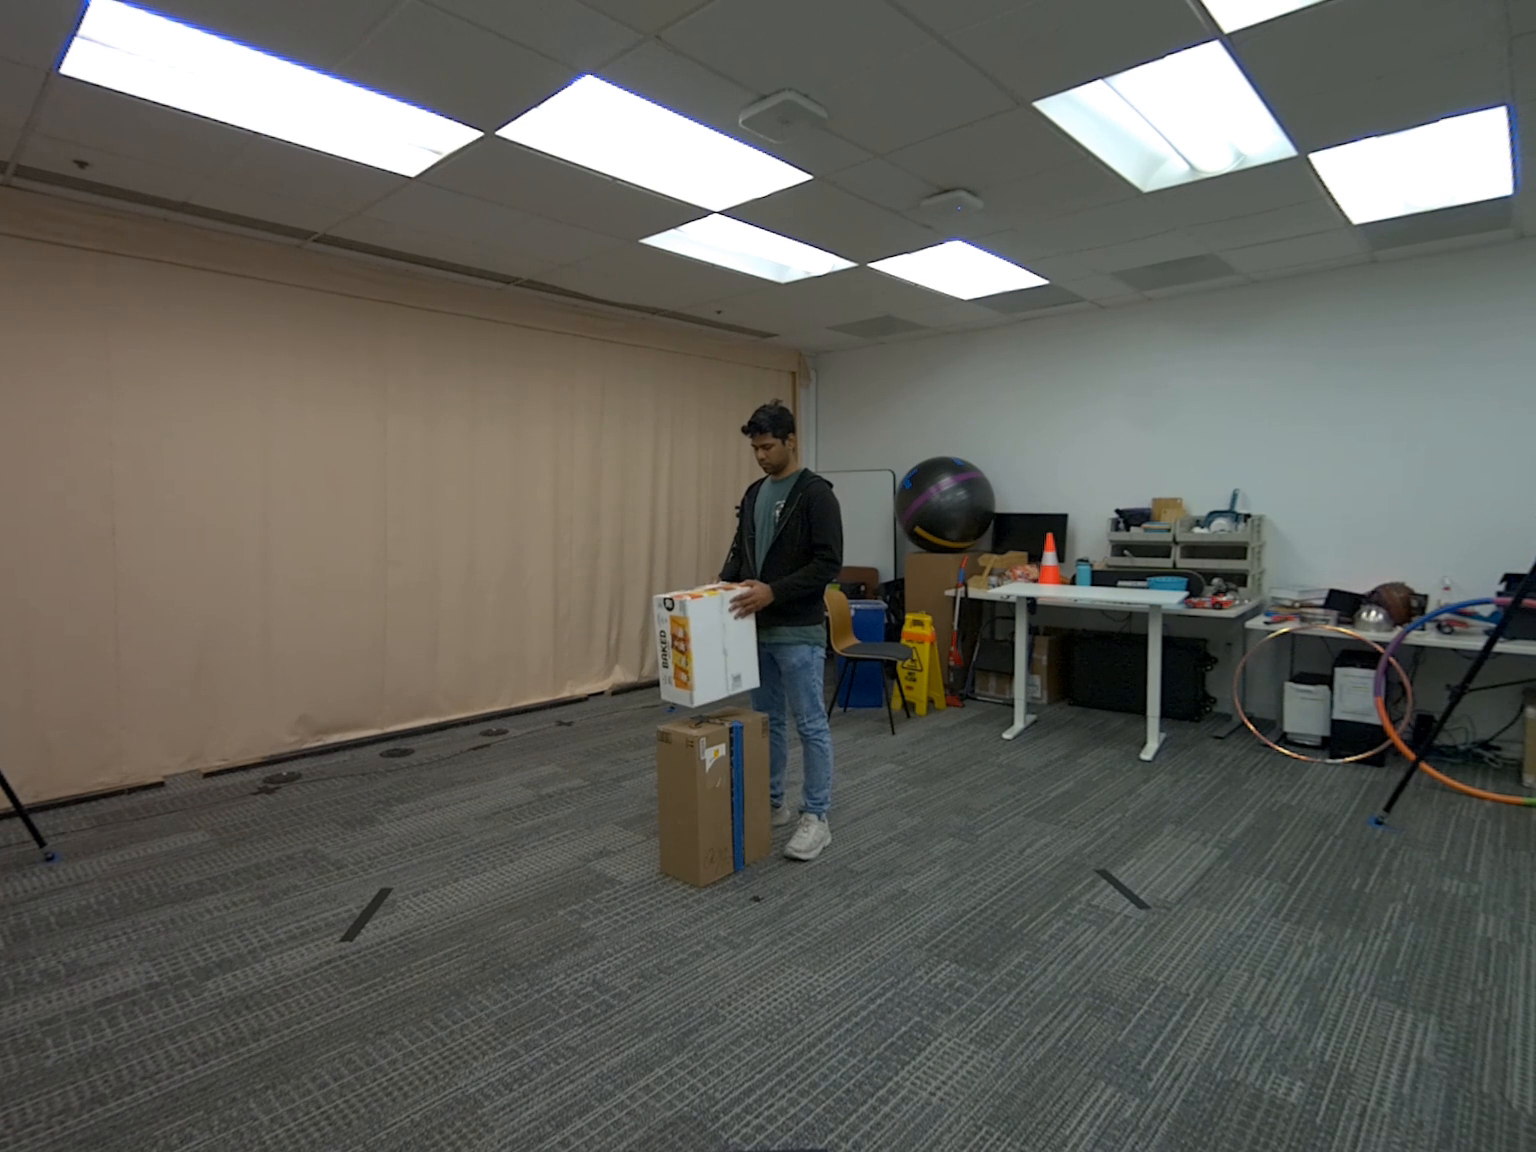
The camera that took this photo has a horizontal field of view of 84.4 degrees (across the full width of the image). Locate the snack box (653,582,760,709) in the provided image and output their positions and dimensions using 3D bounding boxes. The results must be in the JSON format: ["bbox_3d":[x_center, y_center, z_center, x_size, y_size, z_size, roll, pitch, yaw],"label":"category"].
[{"bbox_3d":[-0.228,0.242,3.247,0.330,0.403,0.212,-9,7,-42],"label":"snack box"}]
